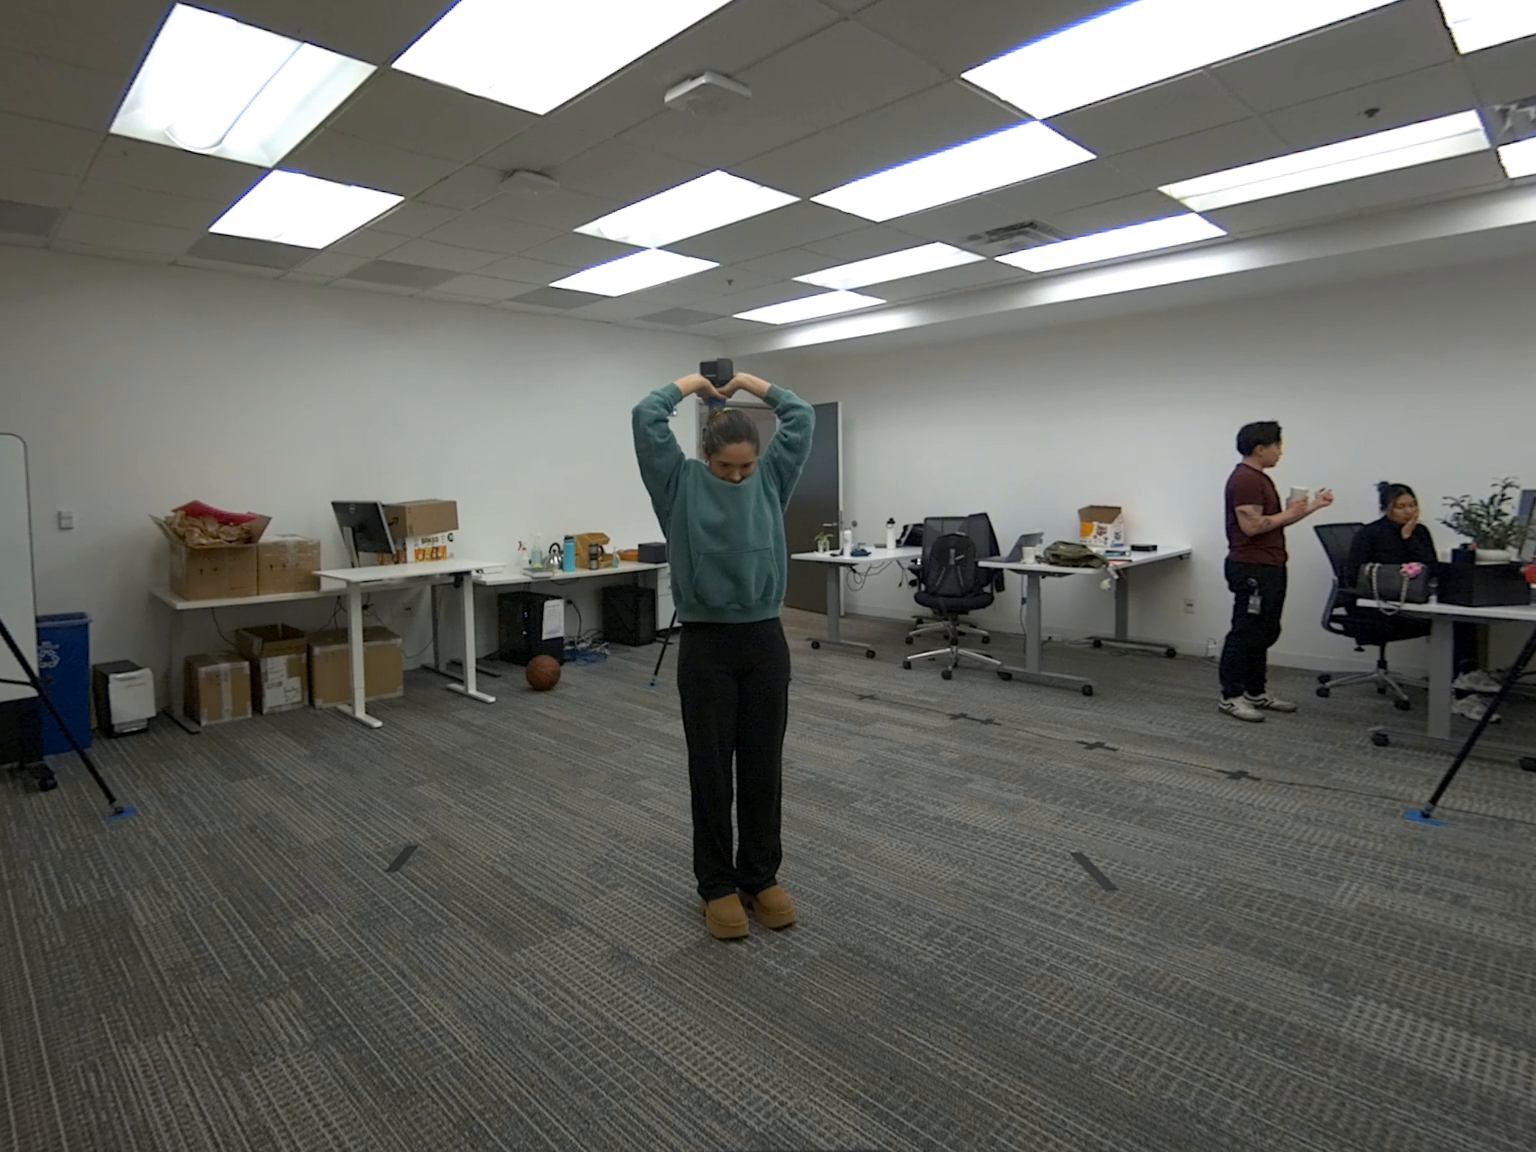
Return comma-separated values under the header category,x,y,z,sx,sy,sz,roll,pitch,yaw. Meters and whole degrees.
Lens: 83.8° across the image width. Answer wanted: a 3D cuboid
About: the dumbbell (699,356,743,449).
category,x,y,z,sx,sy,sz,roll,pitch,yaw
dumbbell,-0.156,-0.564,2.796,0.107,0.291,0.125,-3,8,-16
